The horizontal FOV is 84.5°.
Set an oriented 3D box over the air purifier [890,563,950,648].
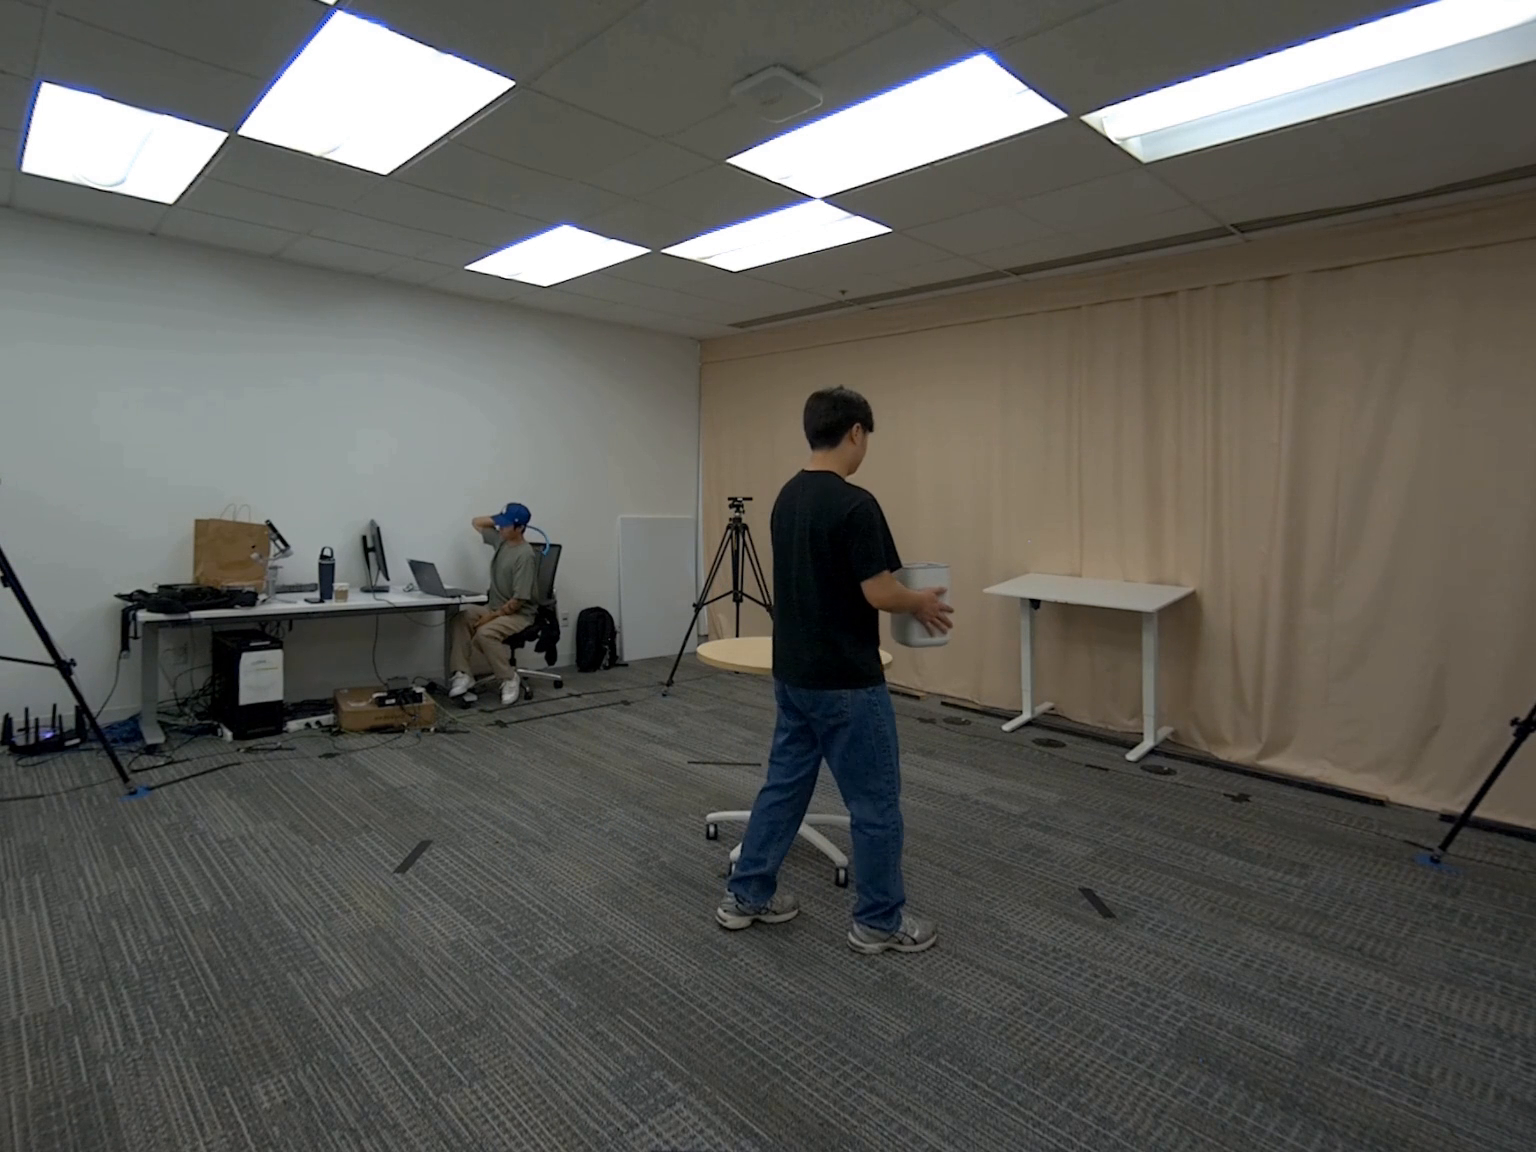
[{"bbox_3d":[0.498,0.094,2.771,0.169,0.264,0.174,-2,6,-16],"label":"air purifier"}]
